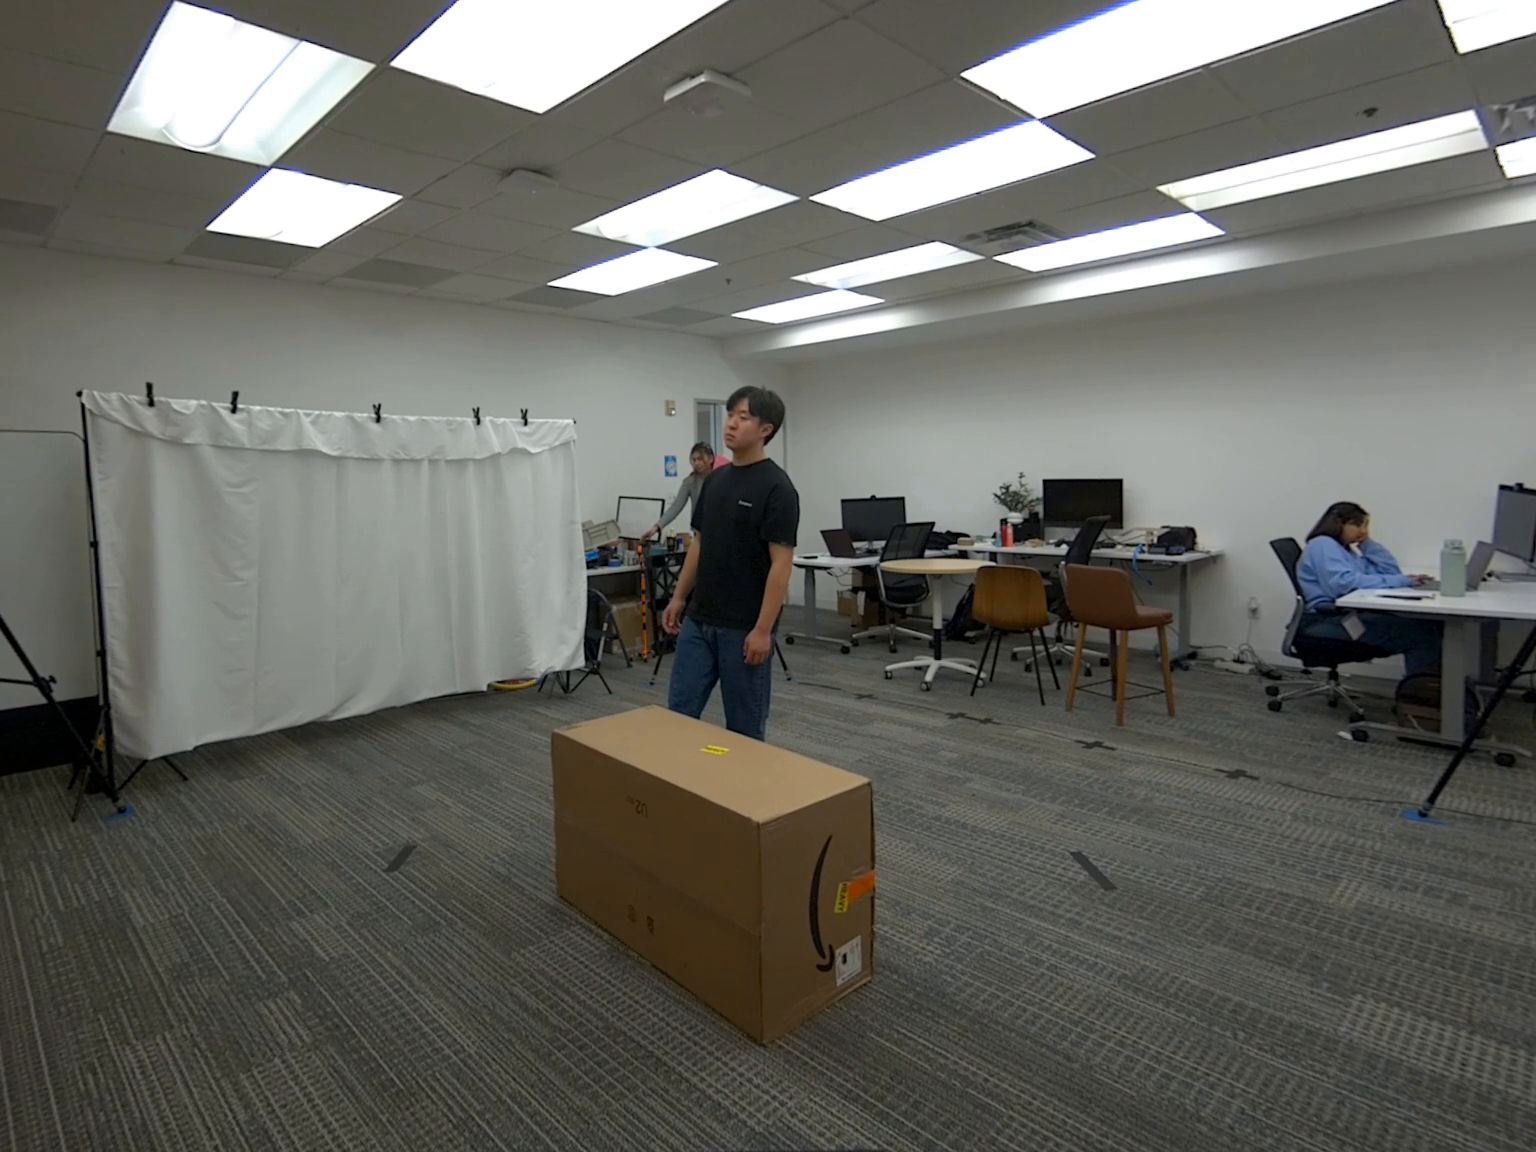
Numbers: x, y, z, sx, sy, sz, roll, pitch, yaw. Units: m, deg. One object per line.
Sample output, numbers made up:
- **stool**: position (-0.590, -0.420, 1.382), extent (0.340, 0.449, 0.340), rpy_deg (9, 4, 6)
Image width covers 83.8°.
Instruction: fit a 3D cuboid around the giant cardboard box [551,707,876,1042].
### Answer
- **giant cardboard box**: position (-0.205, 0.817, 2.605), extent (0.435, 0.582, 1.059), rpy_deg (-4, 7, -42)
